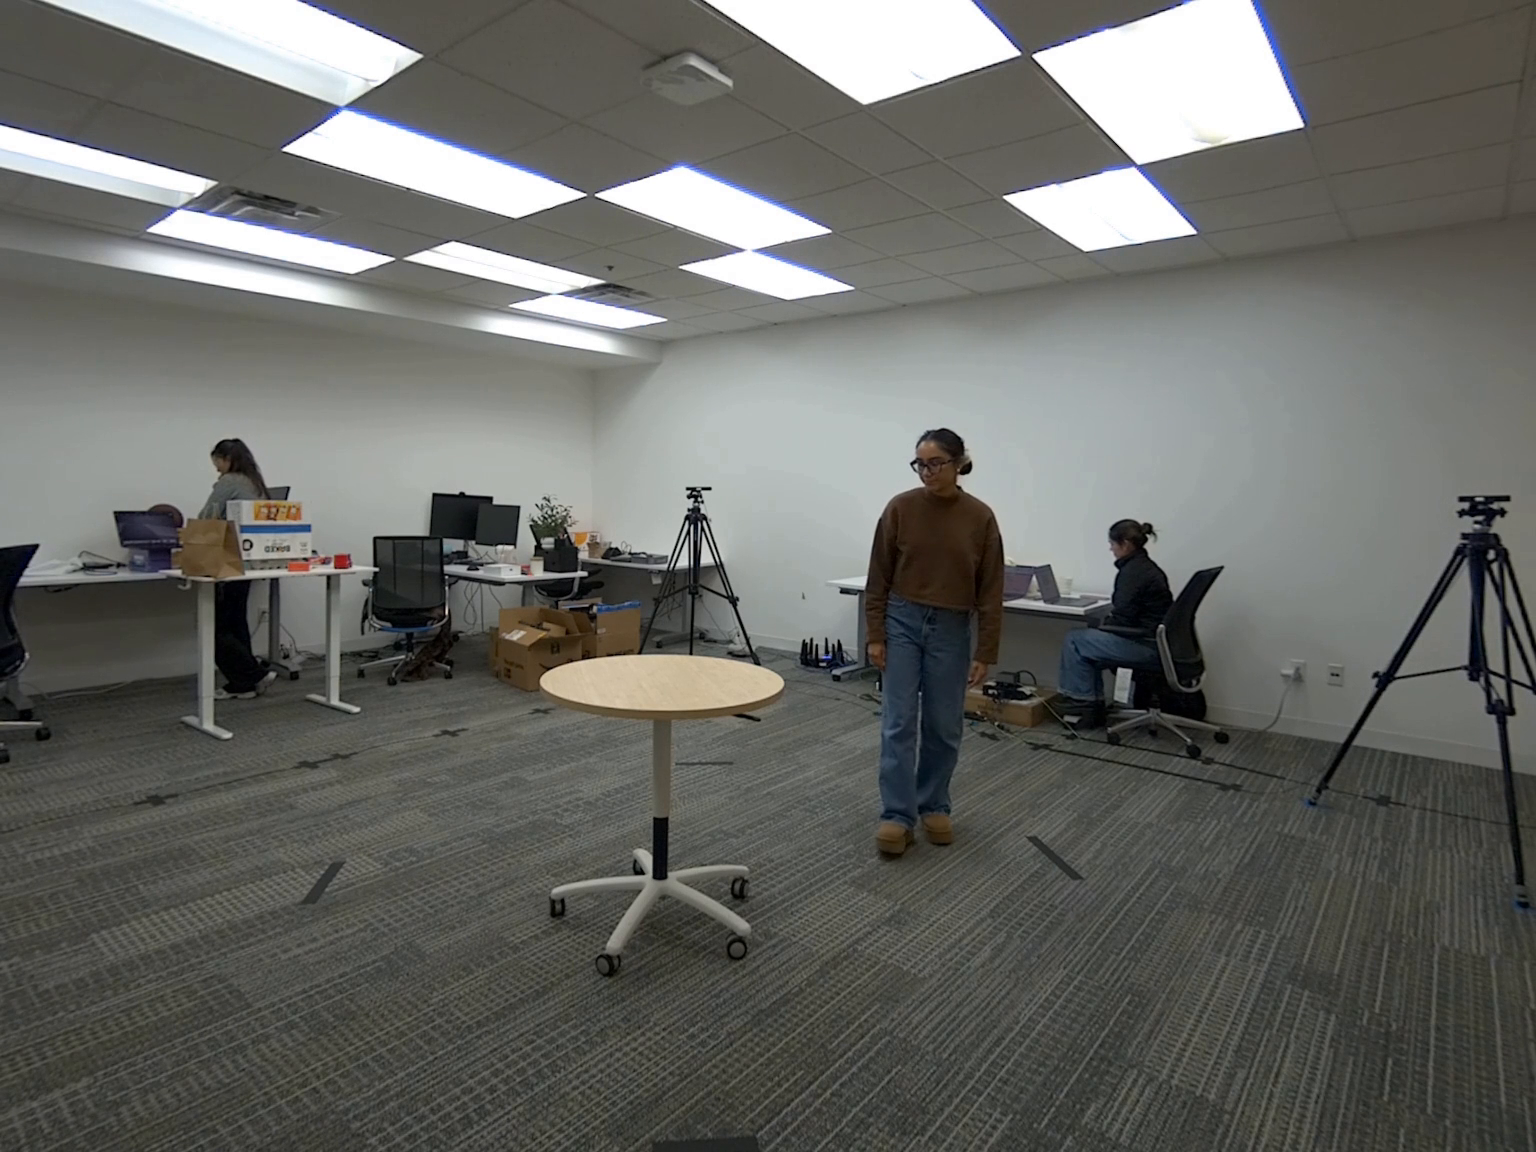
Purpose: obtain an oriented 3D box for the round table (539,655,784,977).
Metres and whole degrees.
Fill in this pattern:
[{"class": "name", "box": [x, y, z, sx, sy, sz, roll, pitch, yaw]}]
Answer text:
[{"class": "round table", "box": [-0.361, 0.712, 2.703, 0.784, 0.784, 0.789, 1, 4, -2]}]
